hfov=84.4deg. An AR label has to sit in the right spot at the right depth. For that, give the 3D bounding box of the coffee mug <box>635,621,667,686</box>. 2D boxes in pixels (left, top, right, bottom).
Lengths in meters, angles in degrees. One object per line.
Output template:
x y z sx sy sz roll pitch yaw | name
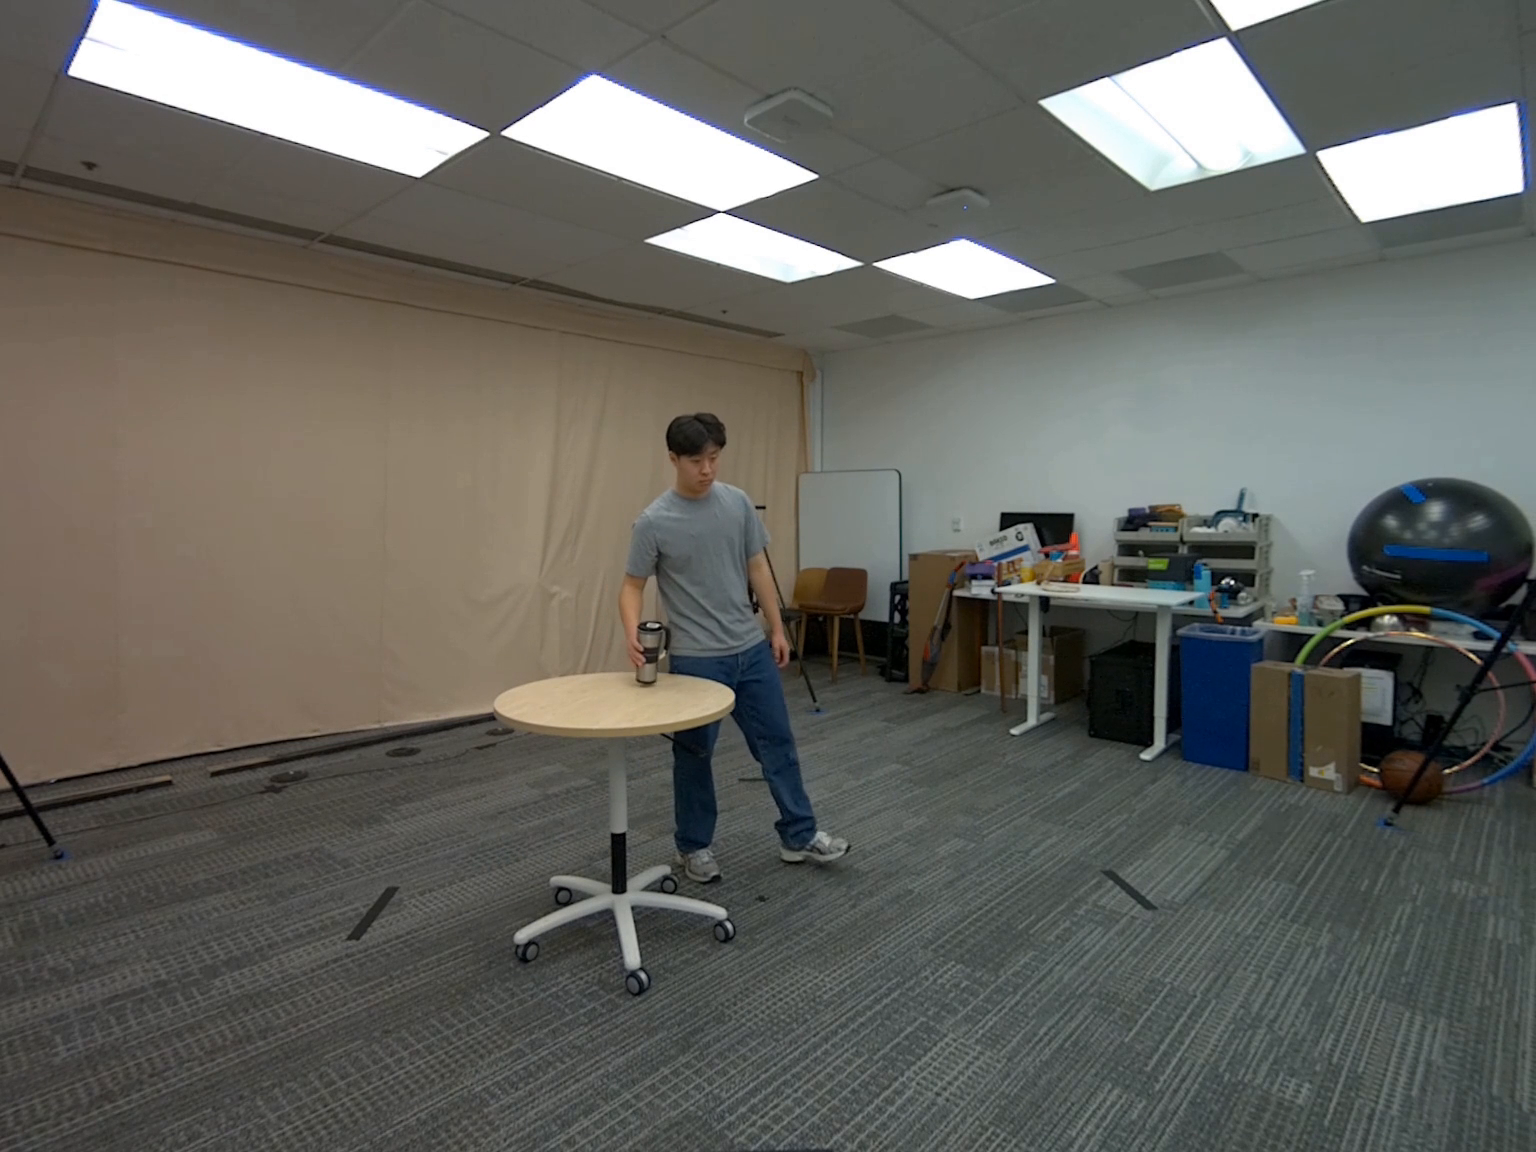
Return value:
-0.377 0.249 2.836 0.120 0.201 0.090 -3 12 -17 | coffee mug
